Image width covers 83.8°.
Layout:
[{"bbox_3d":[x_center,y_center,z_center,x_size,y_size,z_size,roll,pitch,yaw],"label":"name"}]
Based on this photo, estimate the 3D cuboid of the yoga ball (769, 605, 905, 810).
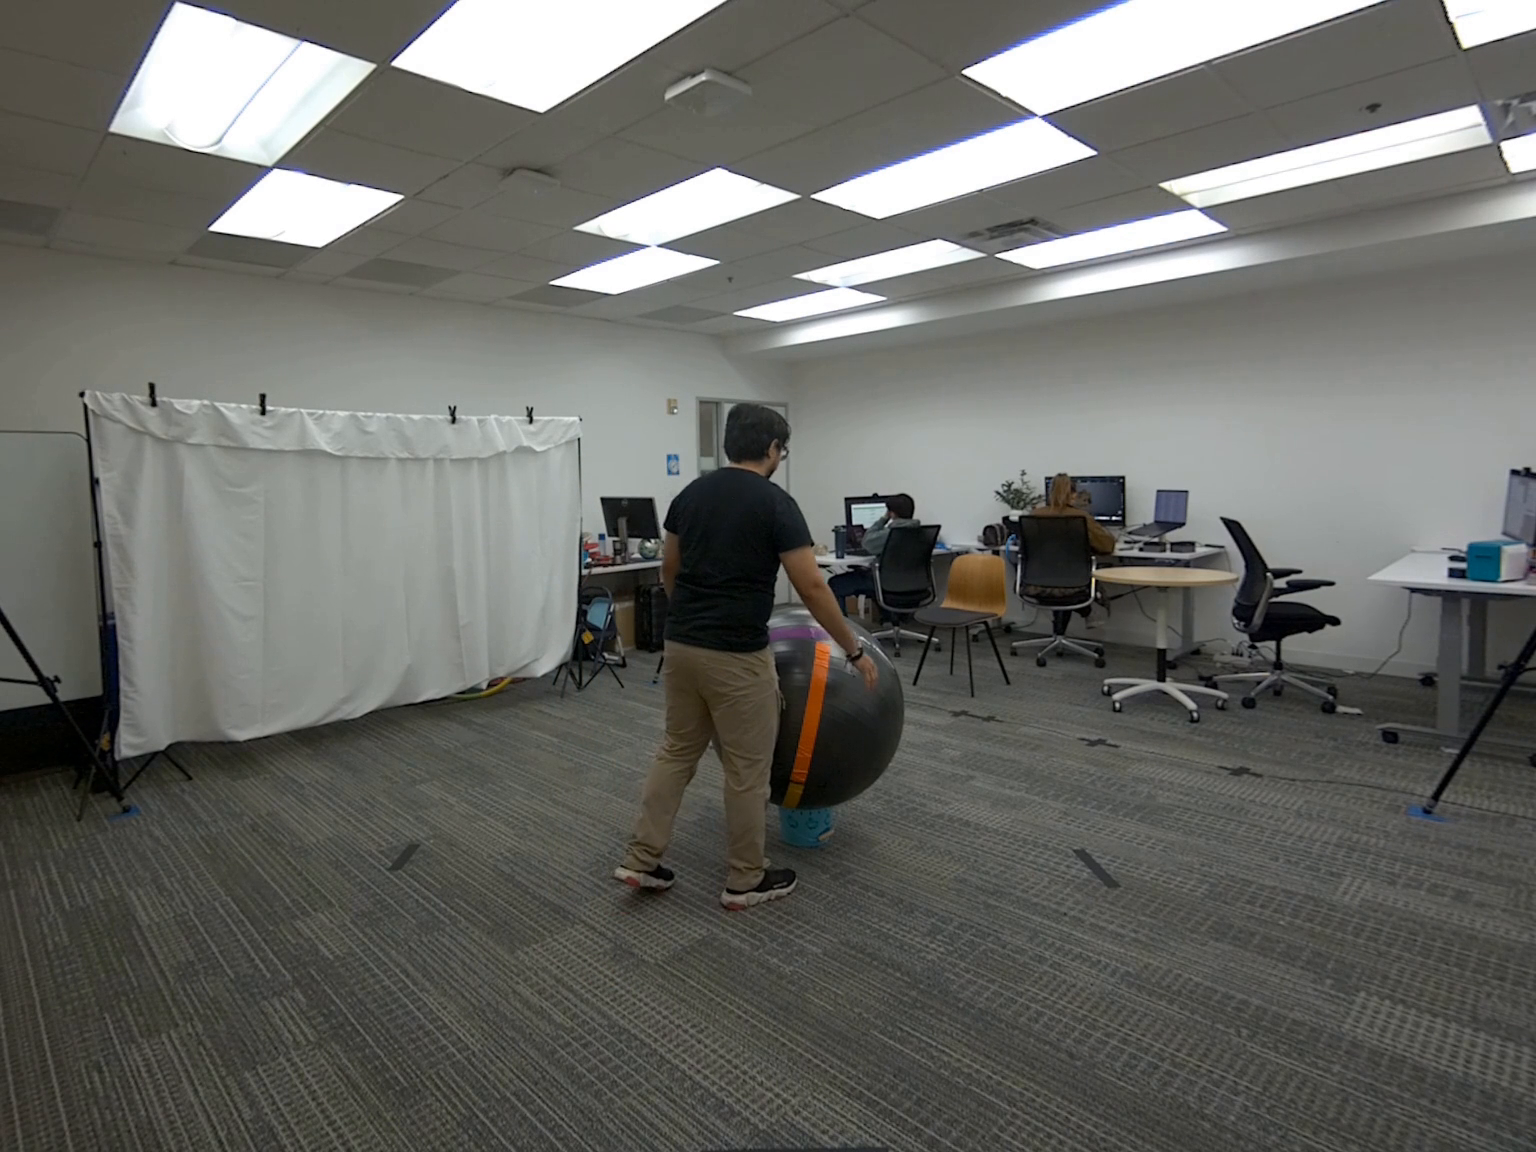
[{"bbox_3d":[0.136,0.509,3.287,0.757,0.755,0.762,-1,5,-2],"label":"yoga ball"}]
